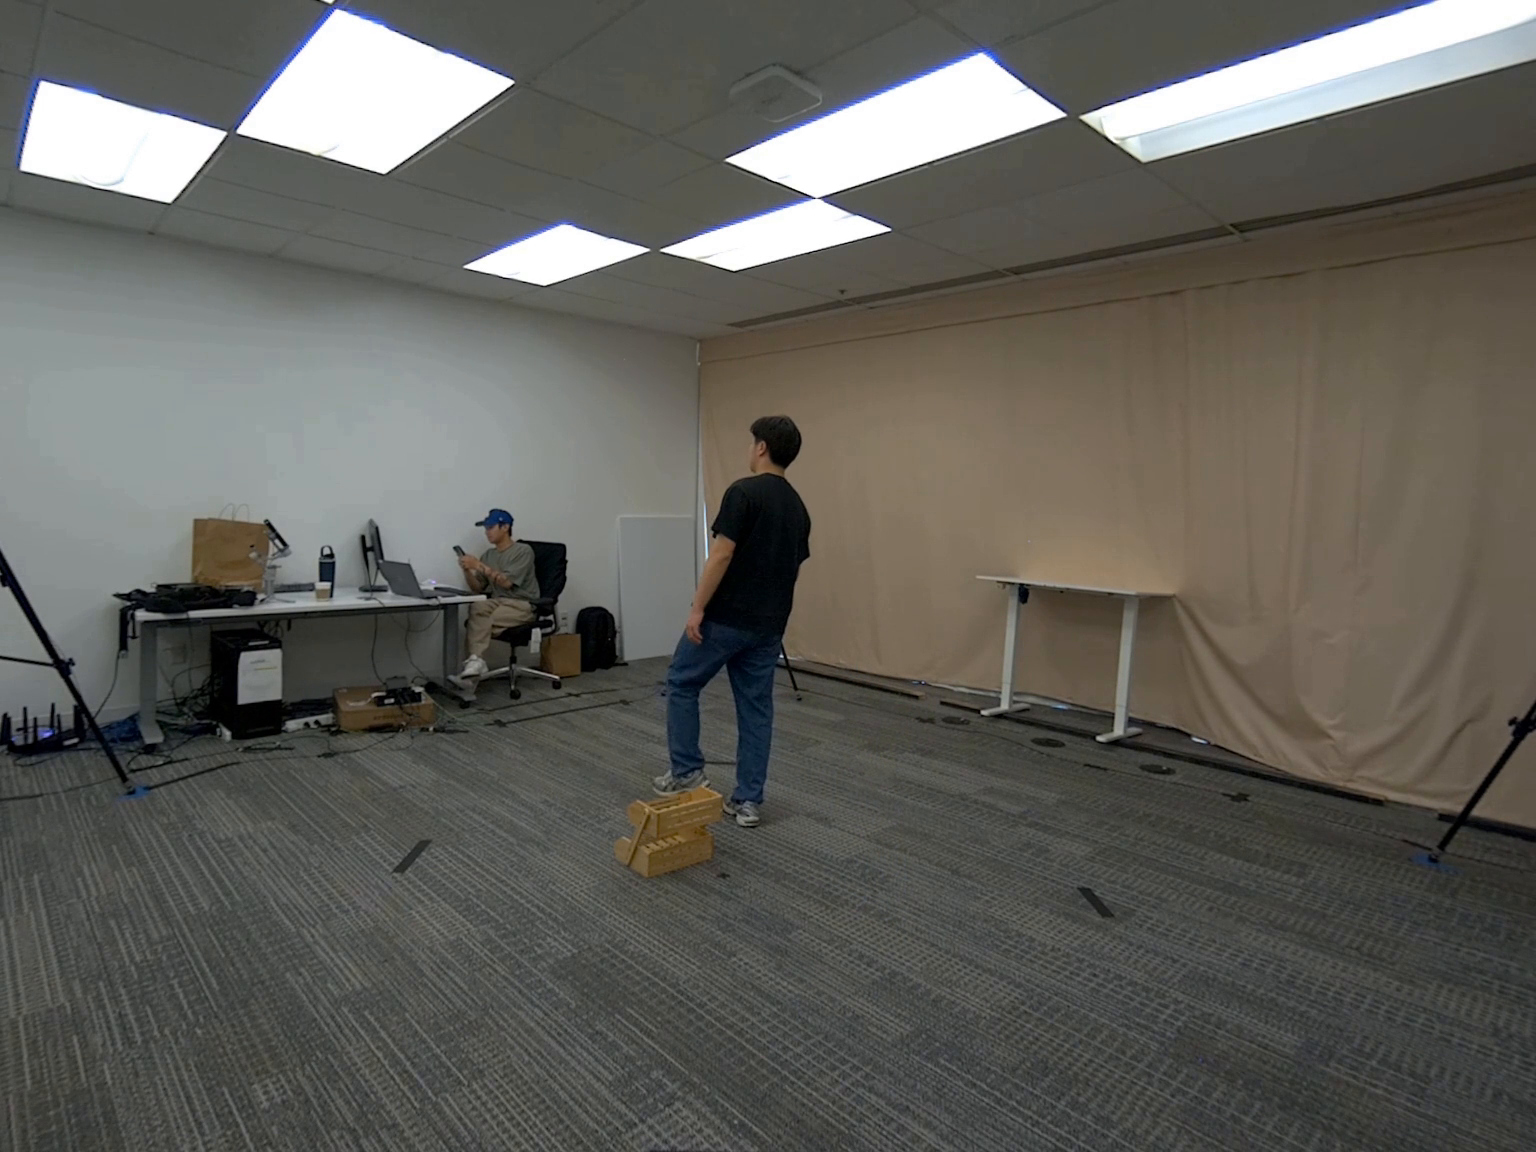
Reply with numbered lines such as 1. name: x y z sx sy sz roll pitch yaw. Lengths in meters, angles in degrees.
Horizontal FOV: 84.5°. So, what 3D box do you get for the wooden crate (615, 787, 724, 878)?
1. wooden crate: -0.393 0.958 3.233 0.317 0.272 0.310 -2 6 -40
